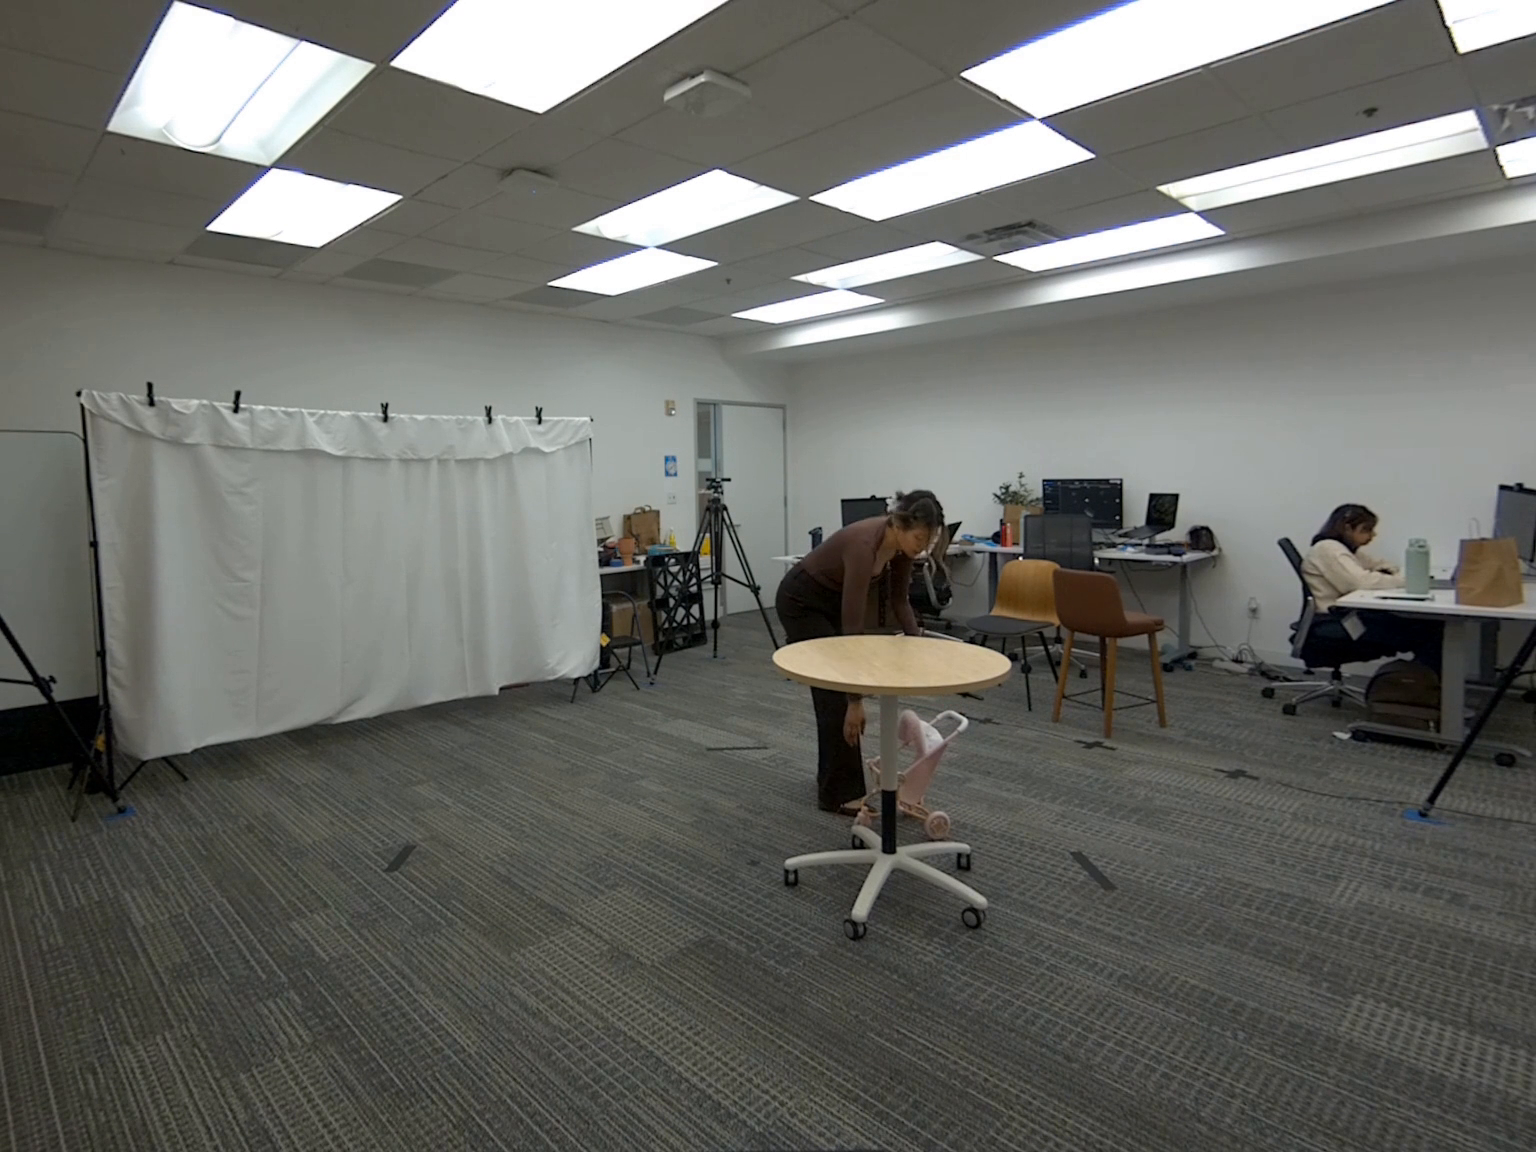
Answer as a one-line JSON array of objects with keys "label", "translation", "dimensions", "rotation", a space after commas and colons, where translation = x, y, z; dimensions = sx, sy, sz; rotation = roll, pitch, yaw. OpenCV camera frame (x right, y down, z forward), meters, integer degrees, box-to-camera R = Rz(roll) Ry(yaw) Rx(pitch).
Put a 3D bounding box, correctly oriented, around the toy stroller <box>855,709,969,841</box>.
[{"label": "toy stroller", "translation": [0.546, 0.770, 3.378], "dimensions": [0.338, 0.534, 0.284], "rotation": [13, 2, -8]}]
